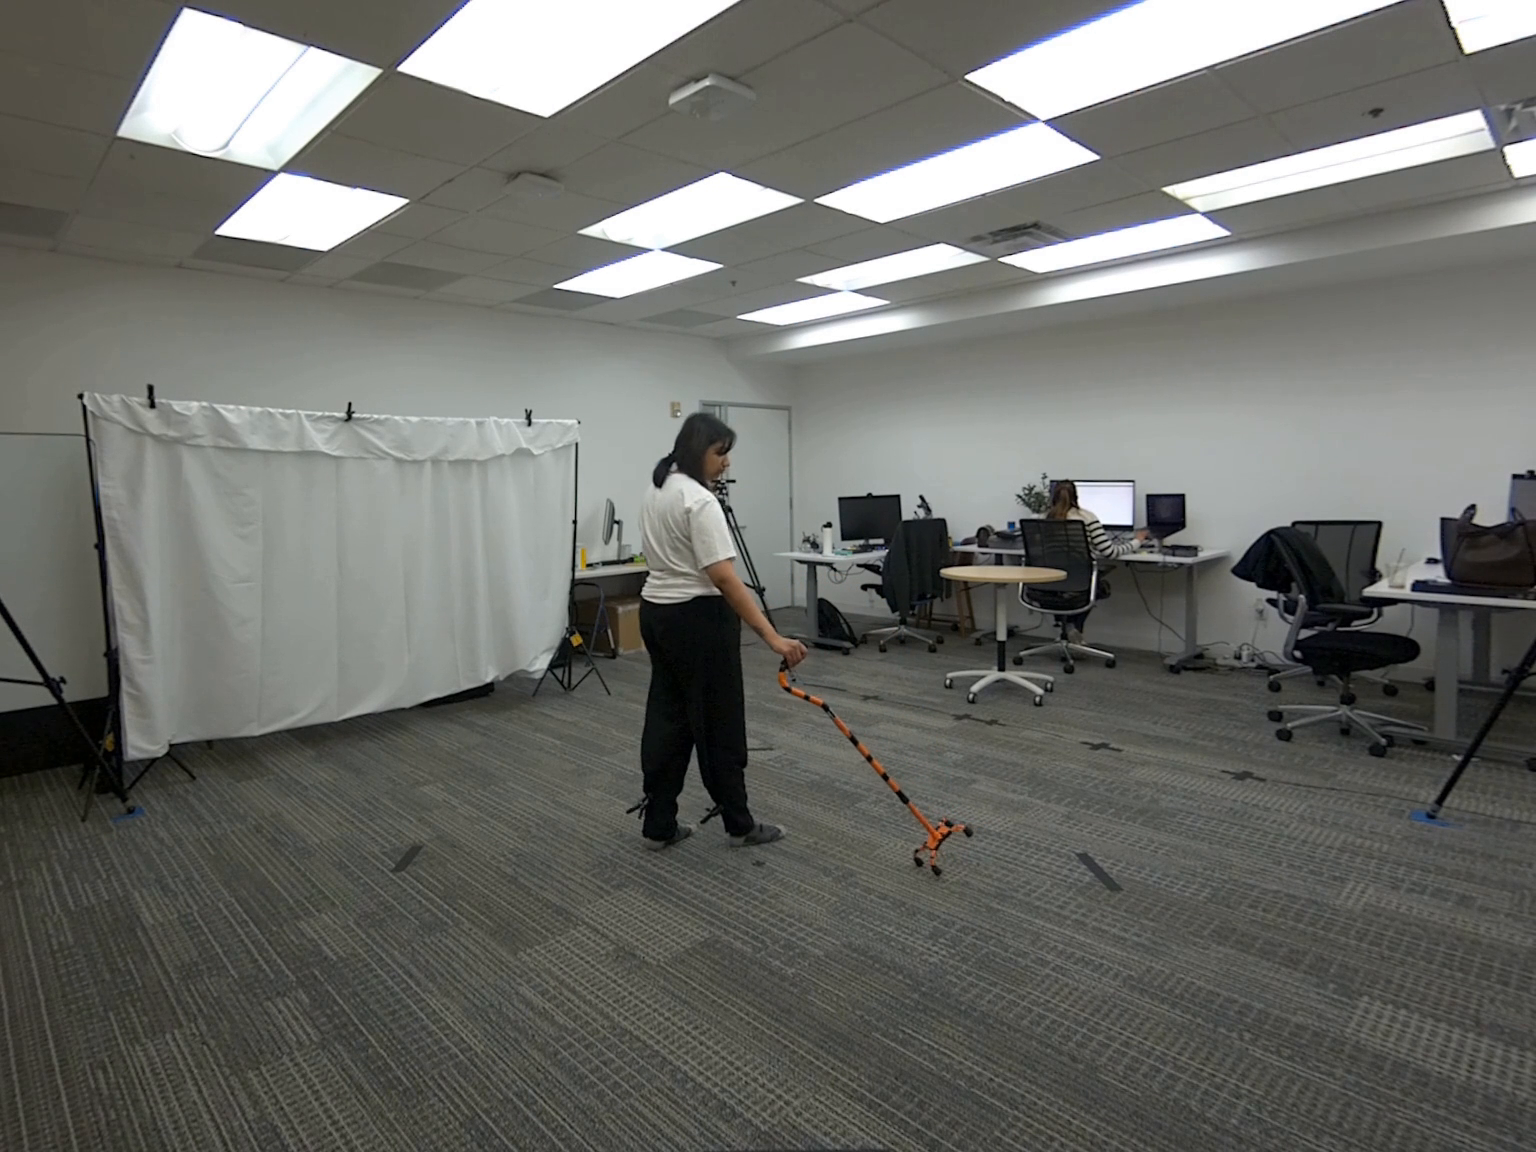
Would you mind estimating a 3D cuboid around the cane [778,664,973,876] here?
[{"bbox_3d":[0.347,0.629,2.981,0.206,0.899,0.153,-42,7,-15],"label":"cane"}]
